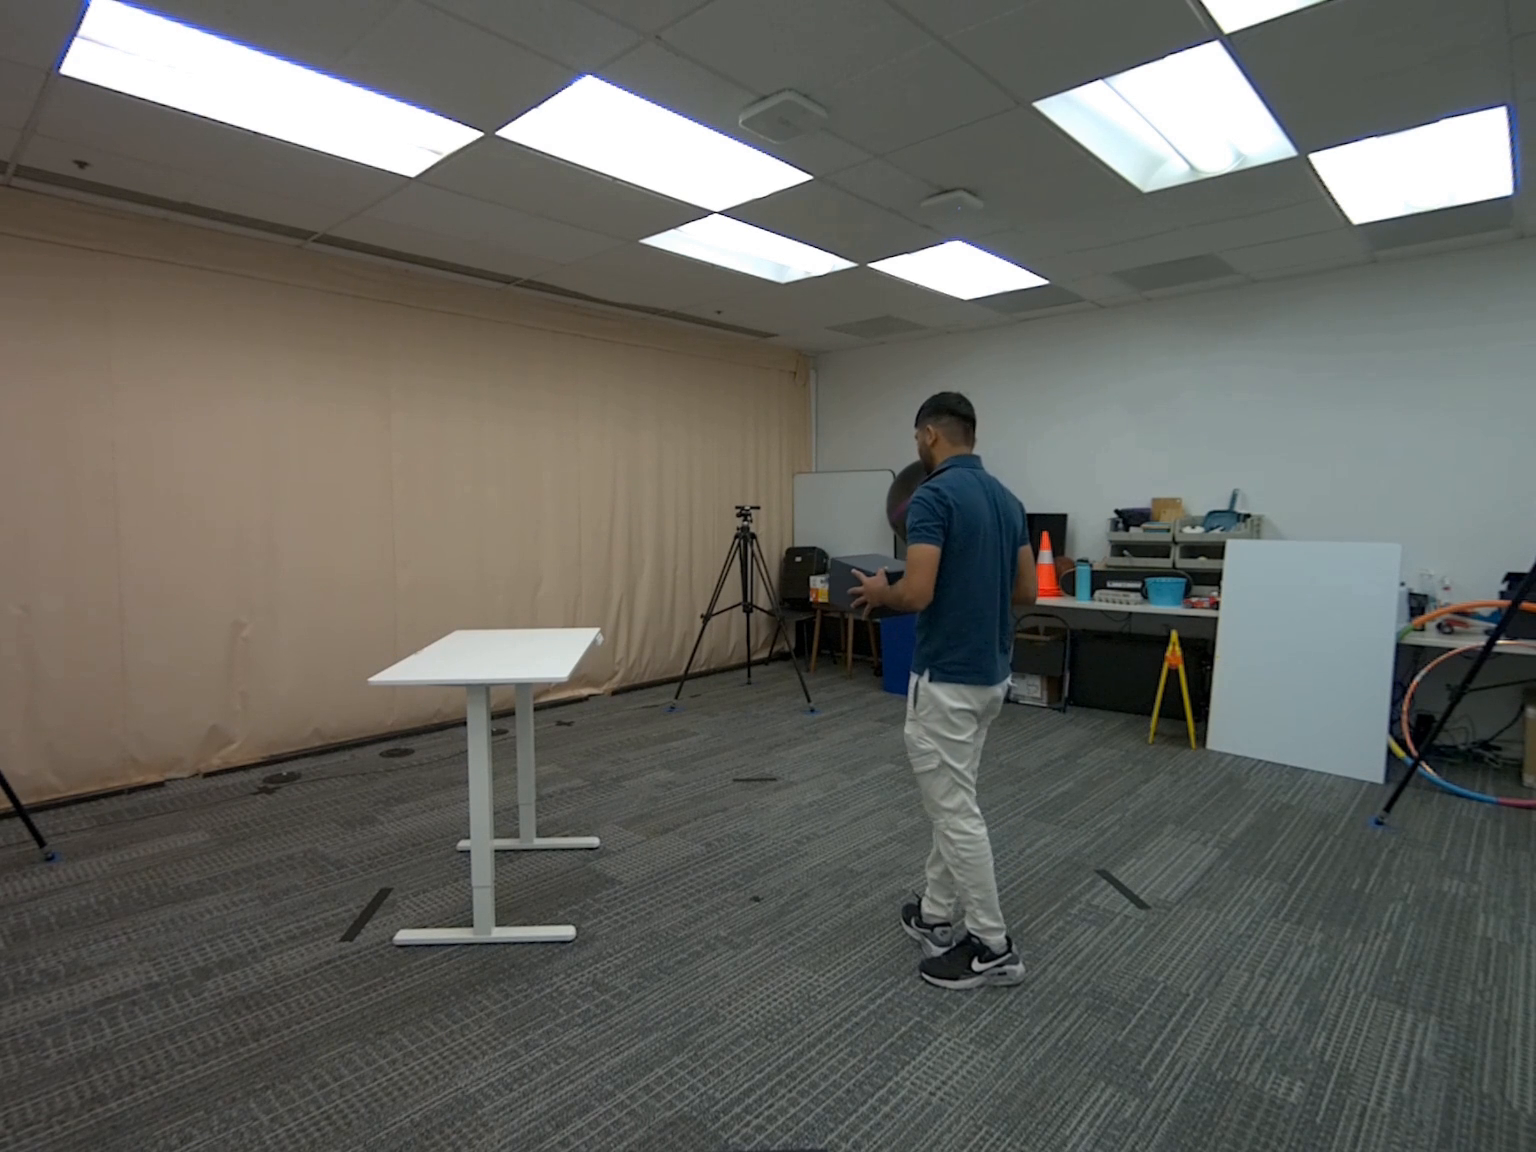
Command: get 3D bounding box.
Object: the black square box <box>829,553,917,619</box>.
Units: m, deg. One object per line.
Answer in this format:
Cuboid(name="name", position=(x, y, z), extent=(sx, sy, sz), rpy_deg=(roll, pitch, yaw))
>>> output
Cuboid(name="black square box", position=(0.361, 0.027, 2.816), extent=(0.211, 0.155, 0.235), rpy_deg=(-4, 13, -29))
